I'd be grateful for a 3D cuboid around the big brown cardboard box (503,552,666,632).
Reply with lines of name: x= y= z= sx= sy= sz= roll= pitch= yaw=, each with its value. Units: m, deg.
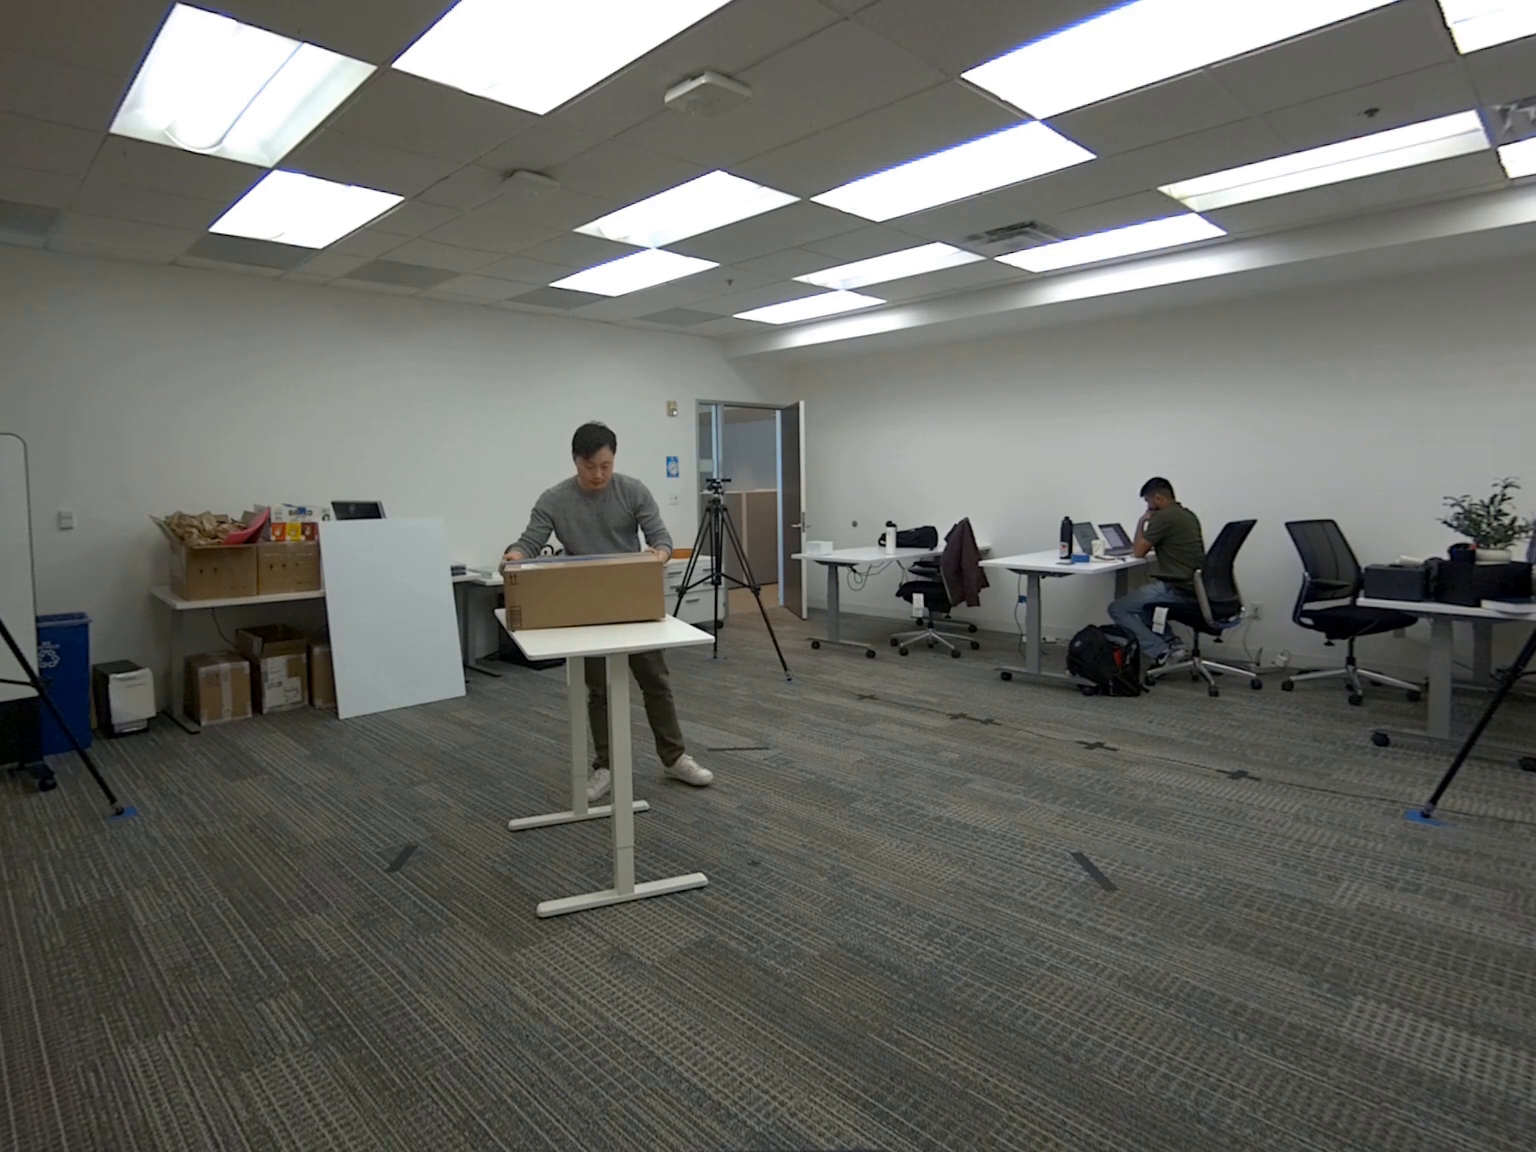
big brown cardboard box: x=-0.702 y=0.045 z=3.245 sx=0.582 sy=0.232 sz=0.424 roll=-3 pitch=7 yaw=-12
